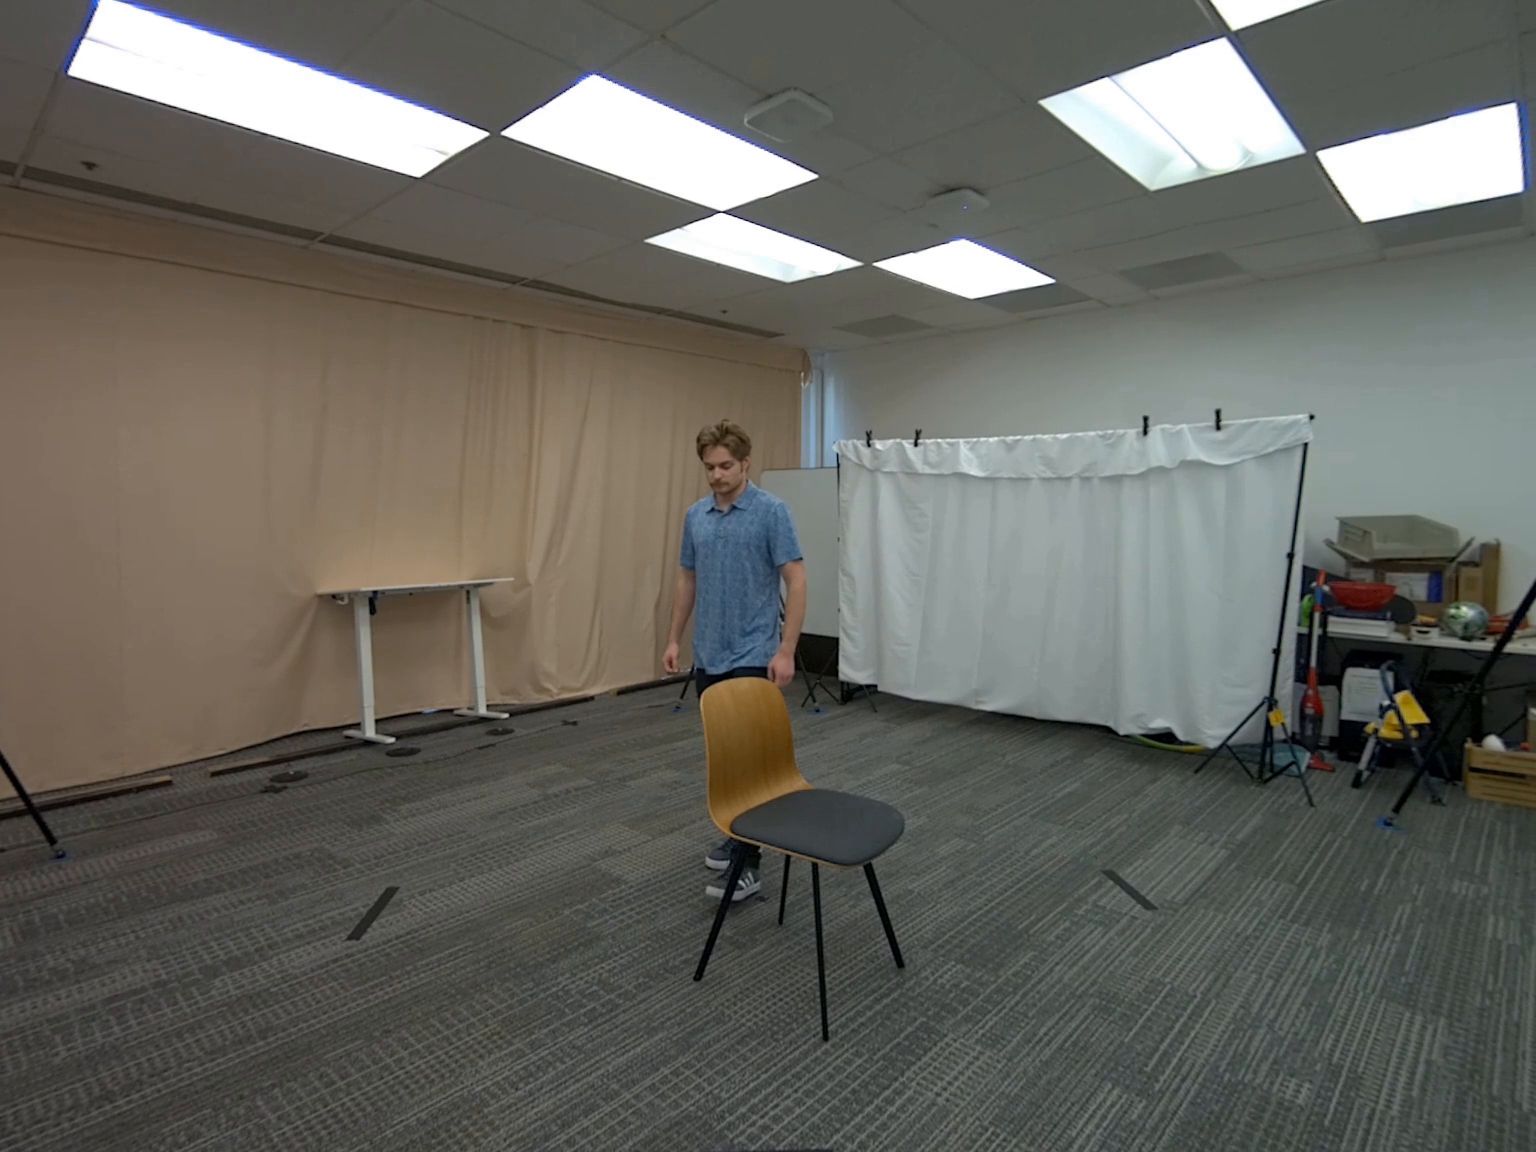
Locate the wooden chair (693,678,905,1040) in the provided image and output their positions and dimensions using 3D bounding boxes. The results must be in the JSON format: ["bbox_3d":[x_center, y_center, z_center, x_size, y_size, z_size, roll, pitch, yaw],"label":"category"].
[{"bbox_3d":[0.110,0.760,2.469,0.539,0.877,0.464,-3,1,37],"label":"wooden chair"}]
